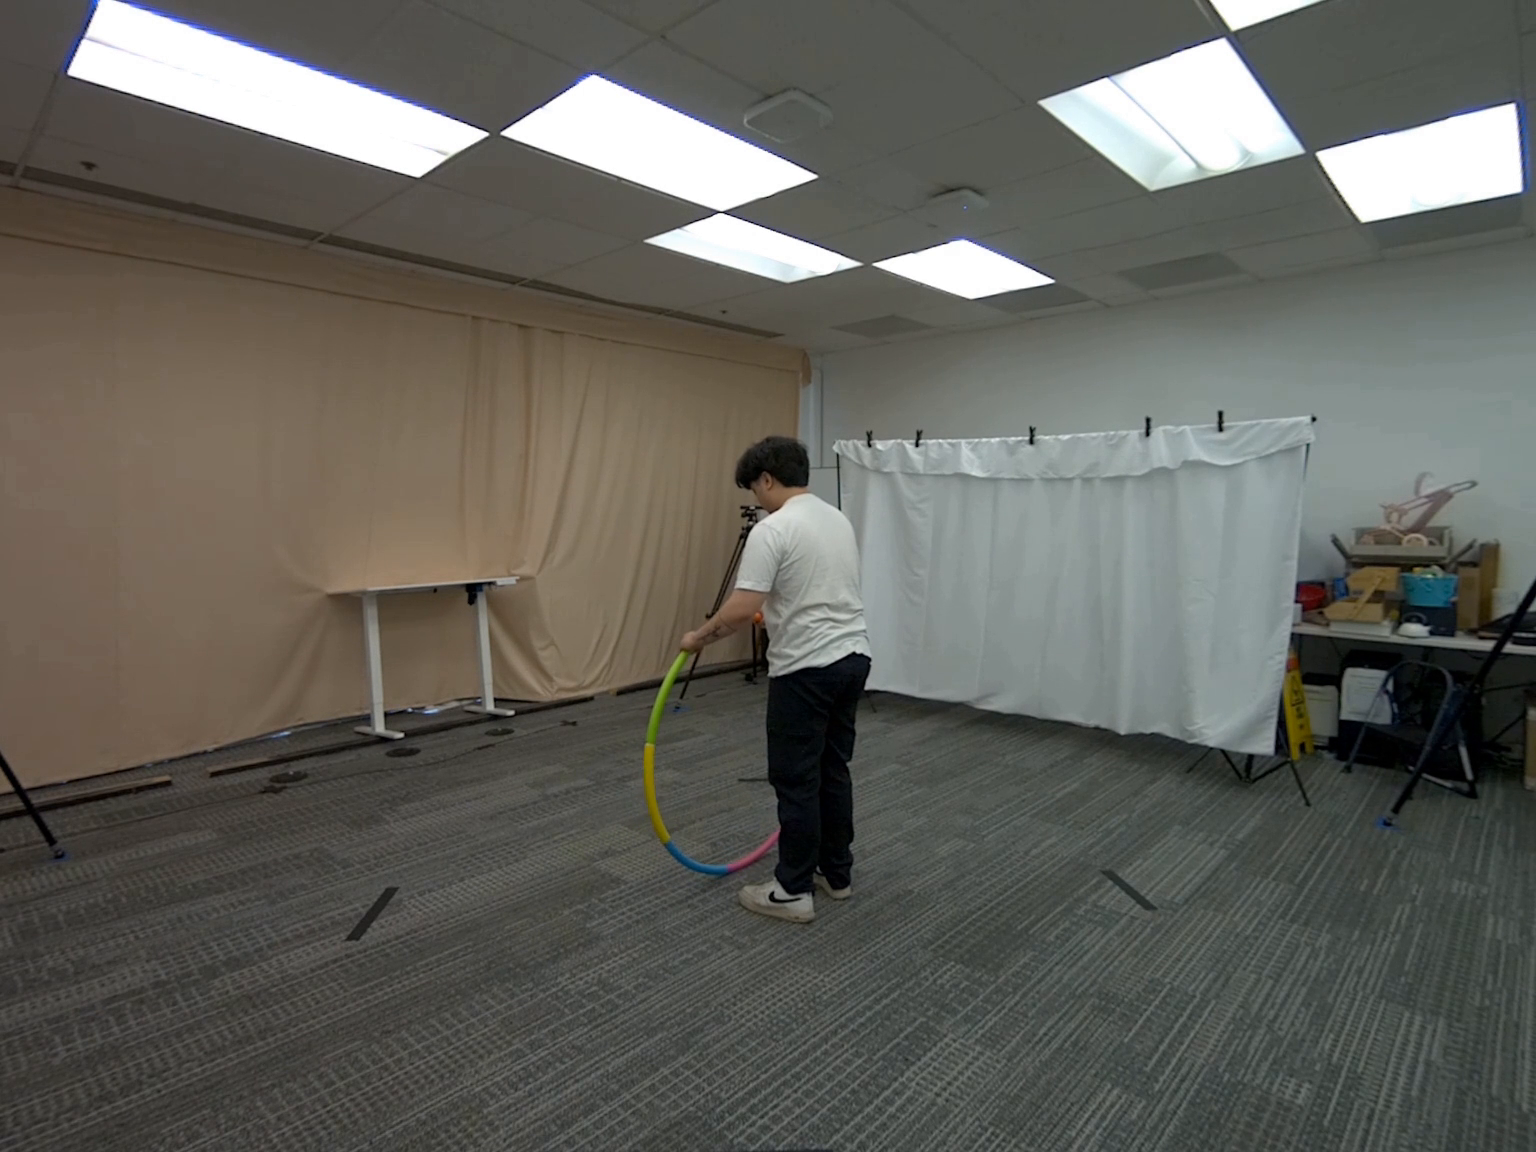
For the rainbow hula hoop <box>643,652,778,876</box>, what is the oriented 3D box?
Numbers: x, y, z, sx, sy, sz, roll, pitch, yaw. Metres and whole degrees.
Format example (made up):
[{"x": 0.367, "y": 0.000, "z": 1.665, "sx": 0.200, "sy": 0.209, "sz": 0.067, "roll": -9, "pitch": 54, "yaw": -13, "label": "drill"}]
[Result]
[{"x": -0.104, "y": 0.632, "z": 3.211, "sx": 0.053, "sy": 0.983, "sz": 0.955, "roll": 3, "pitch": 5, "yaw": 42, "label": "rainbow hula hoop"}]
